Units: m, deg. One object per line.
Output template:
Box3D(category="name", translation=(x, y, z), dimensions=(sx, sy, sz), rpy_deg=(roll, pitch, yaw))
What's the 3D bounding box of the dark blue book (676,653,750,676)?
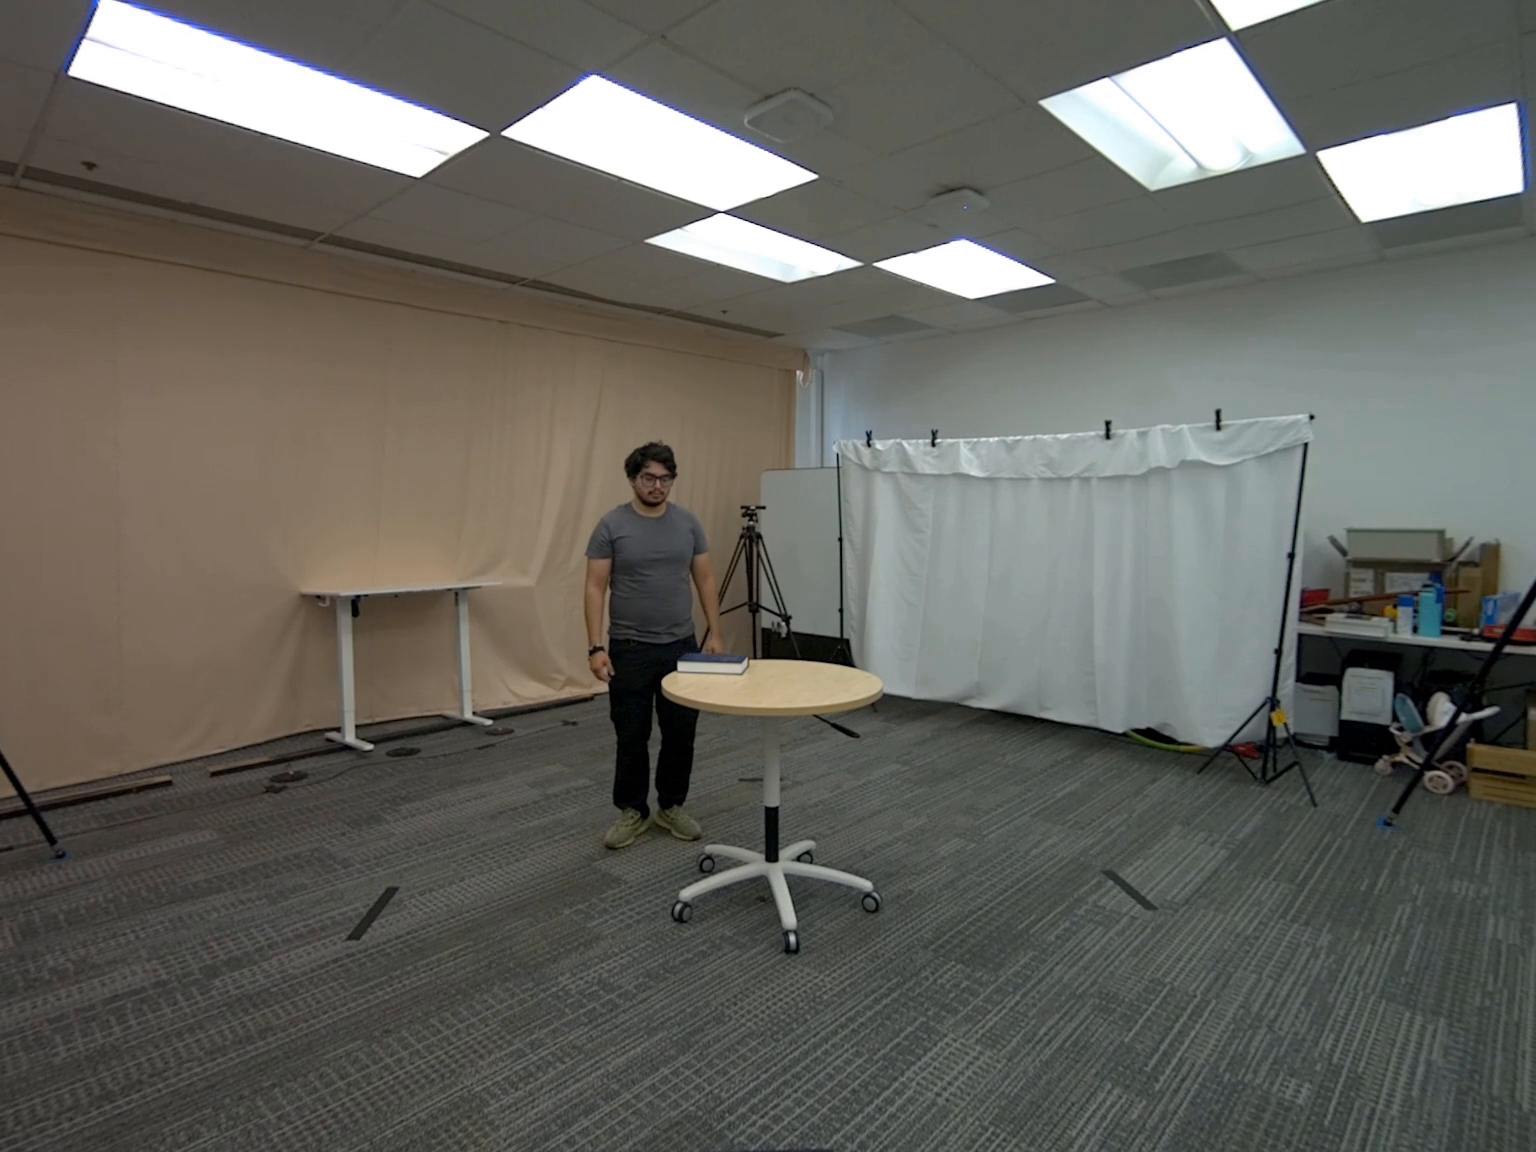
Box3D(category="dark blue book", translation=(-0.193, 0.326, 3.138), dimensions=(0.248, 0.045, 0.162), rpy_deg=(1, 6, 9))
